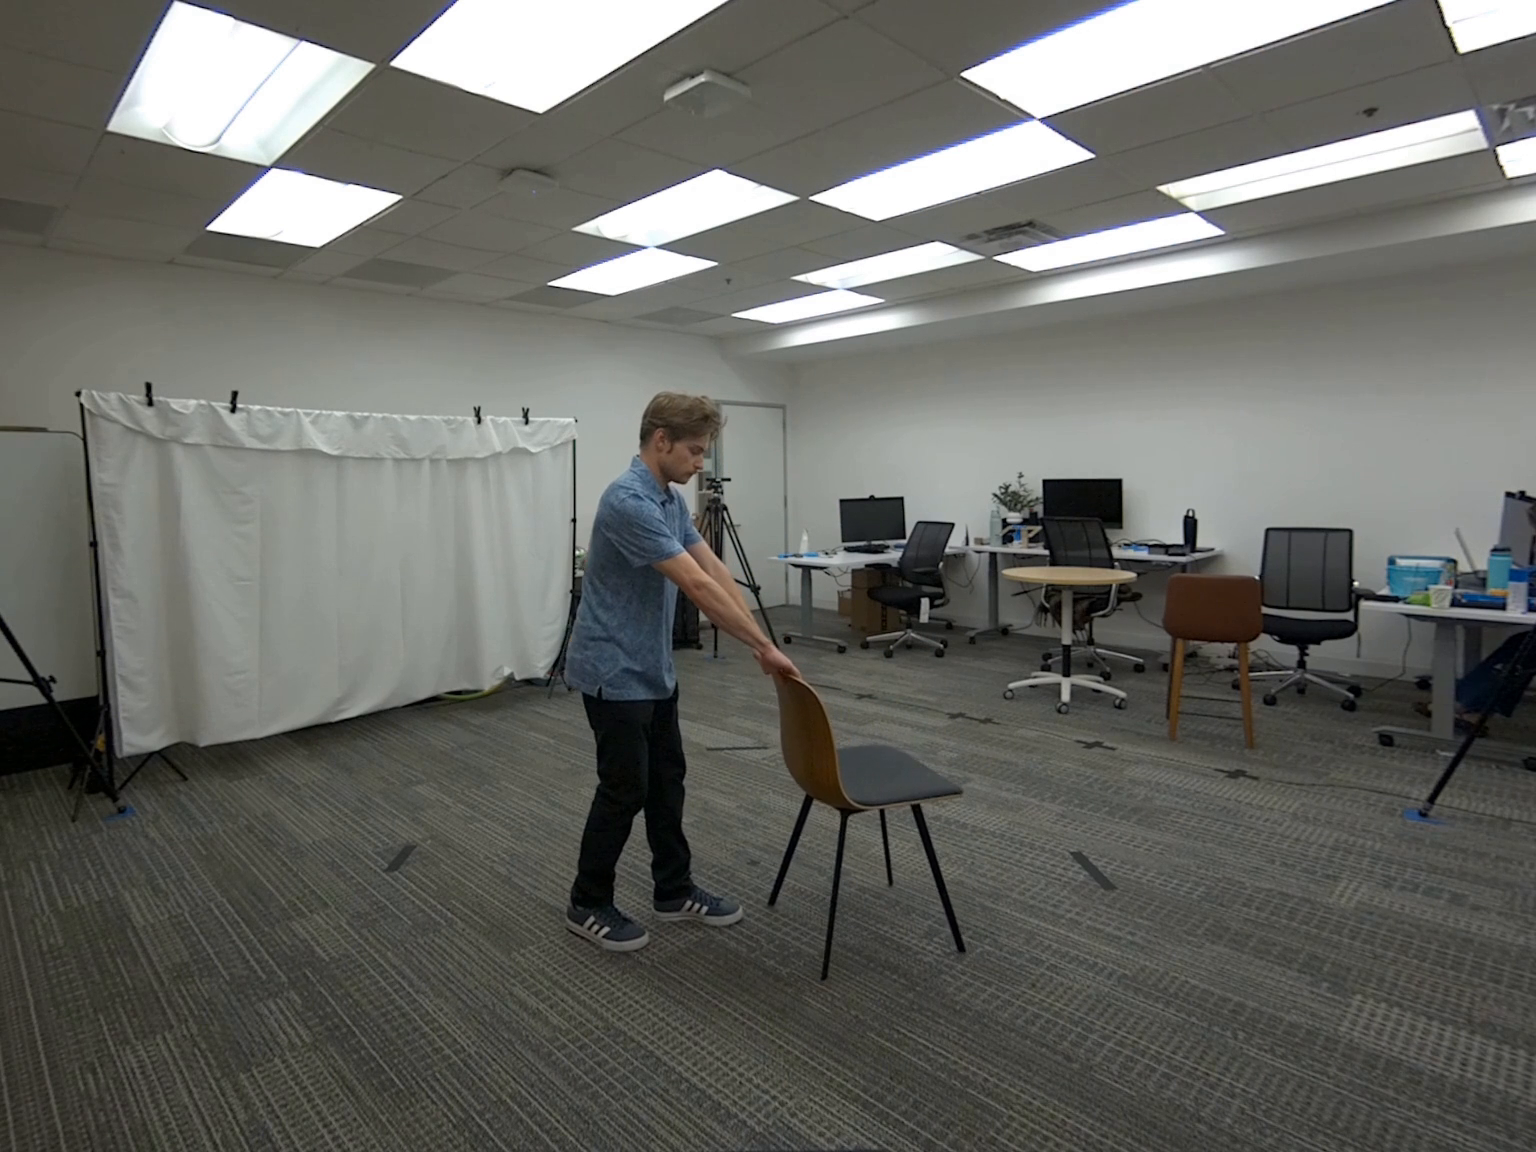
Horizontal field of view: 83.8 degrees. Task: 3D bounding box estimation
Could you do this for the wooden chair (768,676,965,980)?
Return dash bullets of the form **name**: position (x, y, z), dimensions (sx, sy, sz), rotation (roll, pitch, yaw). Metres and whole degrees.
- **wooden chair**: position (0.292, 0.659, 2.623), dimensions (0.515, 0.873, 0.488), rotation (-7, 6, -18)
